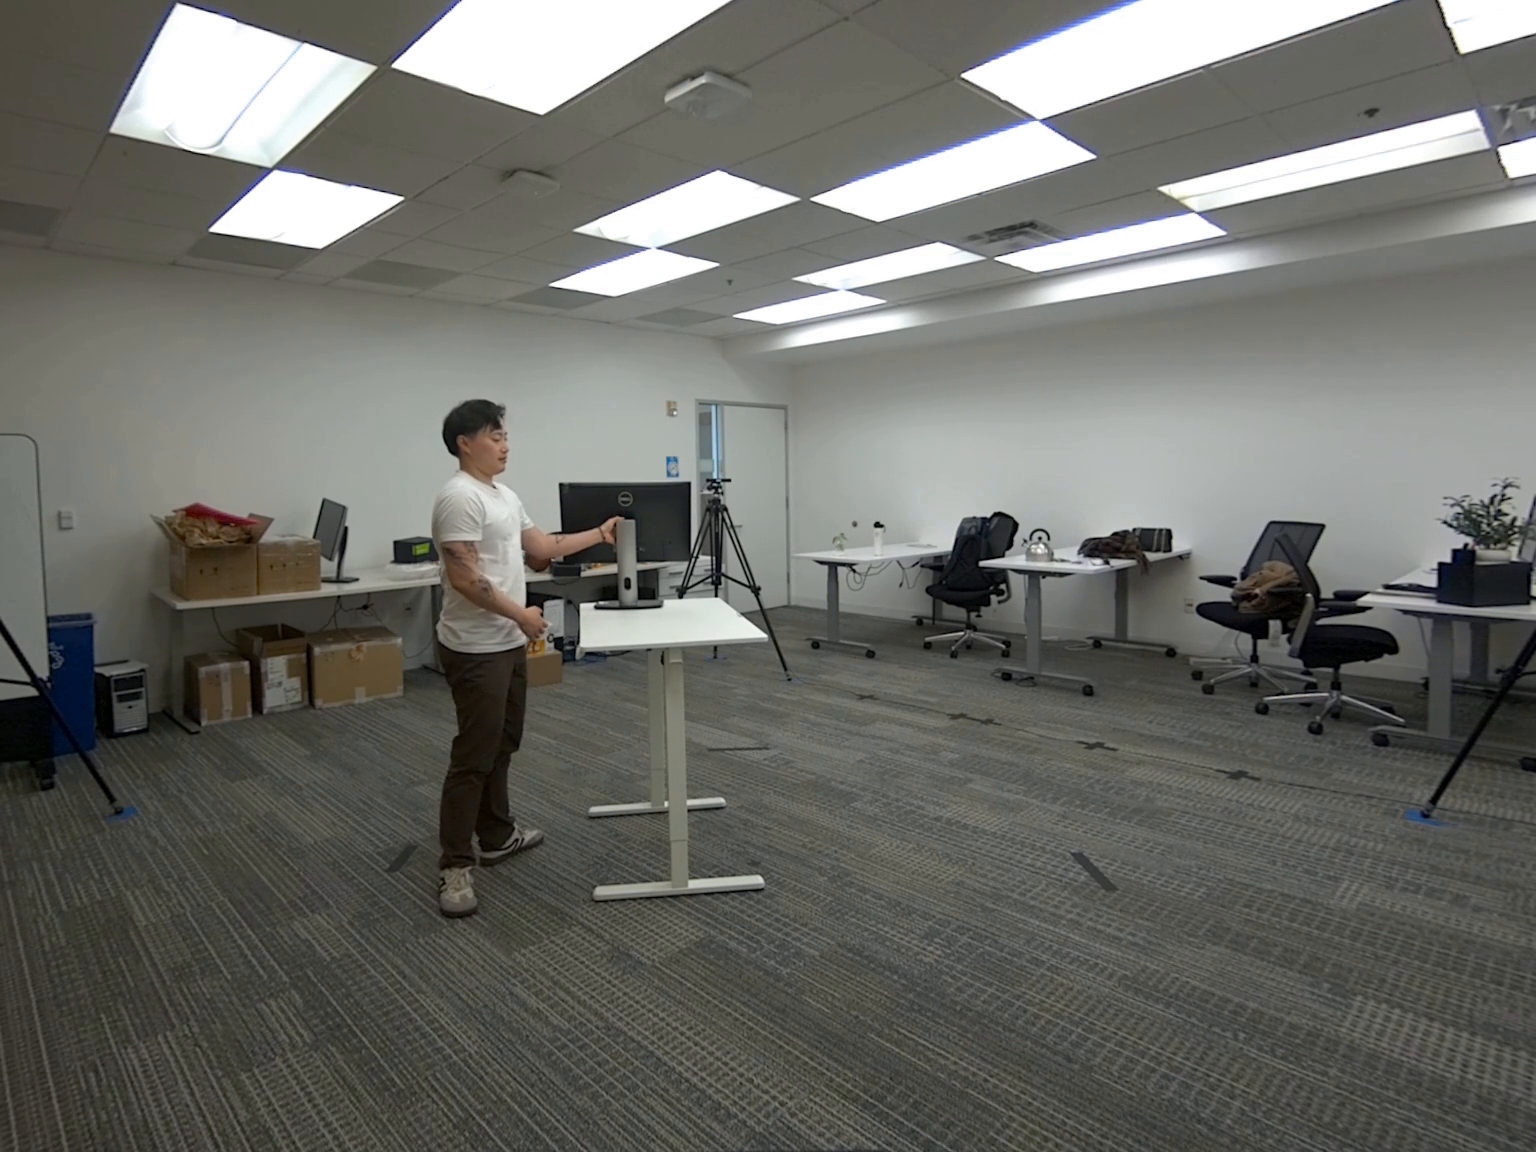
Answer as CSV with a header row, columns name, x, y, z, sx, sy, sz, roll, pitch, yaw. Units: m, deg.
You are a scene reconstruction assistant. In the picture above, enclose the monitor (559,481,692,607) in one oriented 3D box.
name,x,y,z,sx,sy,sz,roll,pitch,yaw
monitor,-0.579,-0.124,3.504,0.536,0.519,0.189,-1,7,-6
